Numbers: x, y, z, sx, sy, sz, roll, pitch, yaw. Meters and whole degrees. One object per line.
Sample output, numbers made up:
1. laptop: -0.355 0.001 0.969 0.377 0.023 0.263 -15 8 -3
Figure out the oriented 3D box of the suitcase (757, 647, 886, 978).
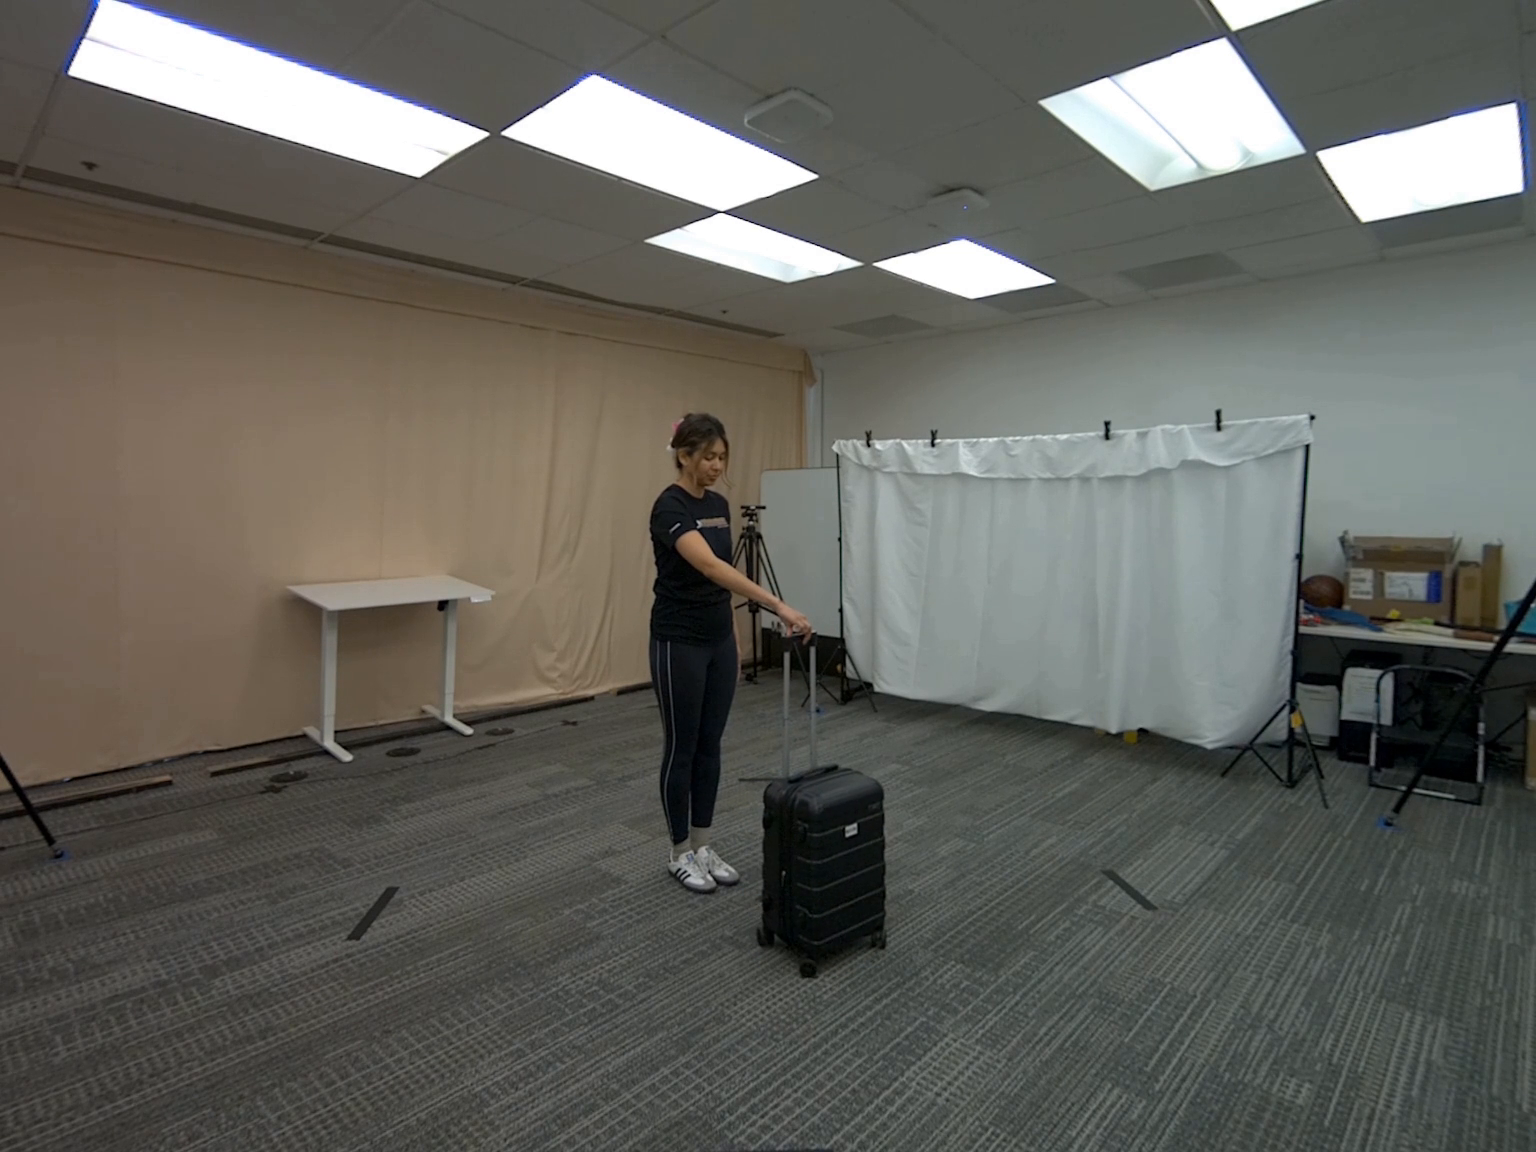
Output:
1. suitcase: 0.183 0.697 2.638 0.372 0.976 0.265 -3 5 -39
